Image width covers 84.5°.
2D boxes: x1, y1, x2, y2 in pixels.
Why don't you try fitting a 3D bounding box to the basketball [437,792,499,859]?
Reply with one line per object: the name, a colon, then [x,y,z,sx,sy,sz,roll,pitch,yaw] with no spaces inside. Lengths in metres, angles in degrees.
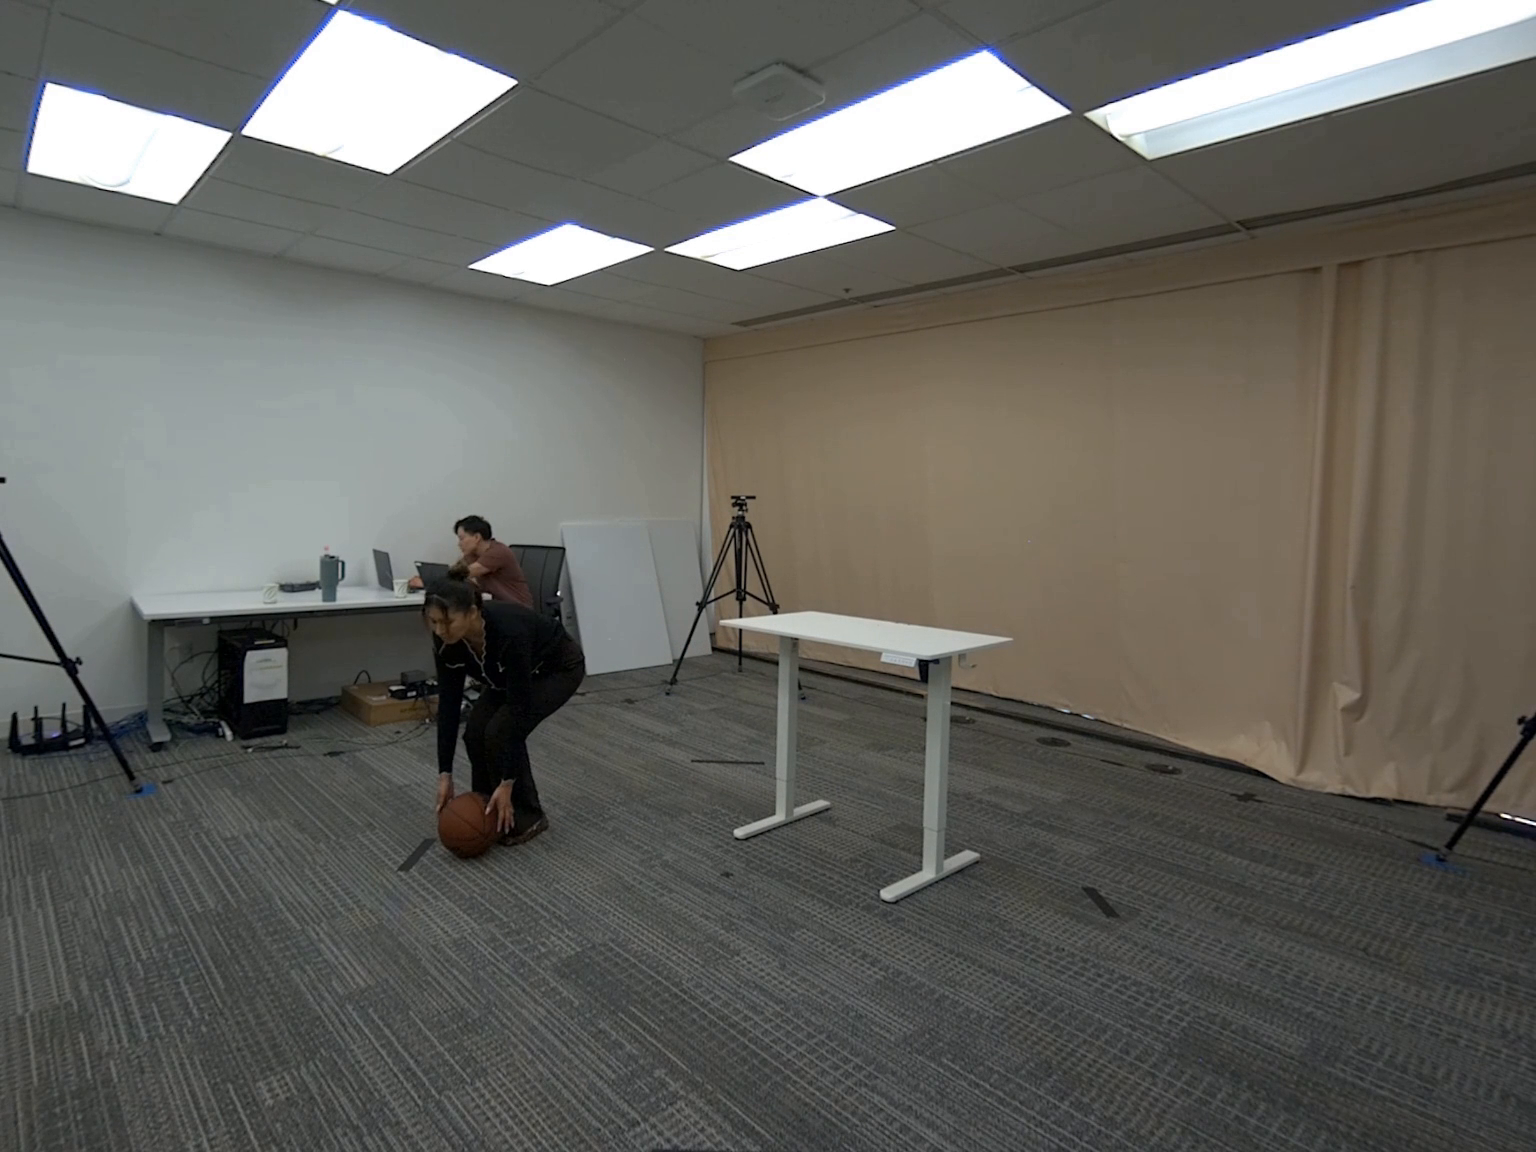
basketball: [-1.167,0.959,3.231,0.236,0.235,0.237,1,4,-1]
